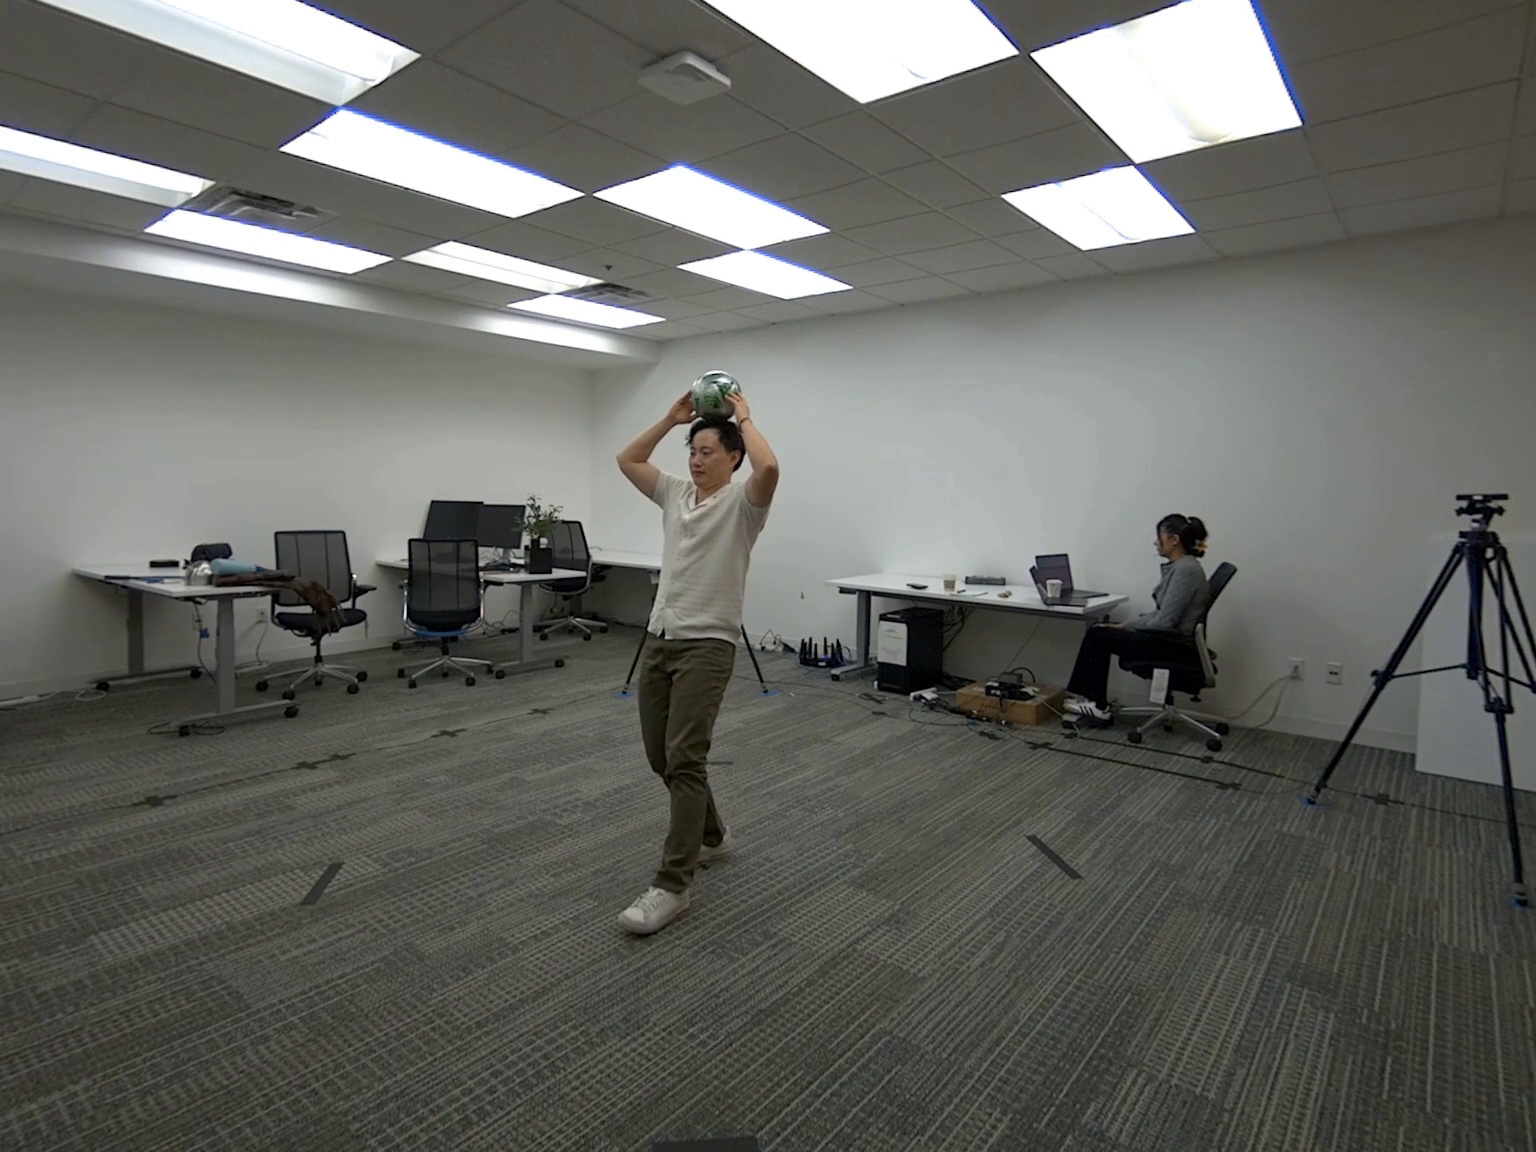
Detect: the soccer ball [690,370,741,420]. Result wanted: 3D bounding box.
[{"bbox_3d":[-0.200,-0.655,3.120,0.187,0.187,0.188,1,4,-2],"label":"soccer ball"}]
